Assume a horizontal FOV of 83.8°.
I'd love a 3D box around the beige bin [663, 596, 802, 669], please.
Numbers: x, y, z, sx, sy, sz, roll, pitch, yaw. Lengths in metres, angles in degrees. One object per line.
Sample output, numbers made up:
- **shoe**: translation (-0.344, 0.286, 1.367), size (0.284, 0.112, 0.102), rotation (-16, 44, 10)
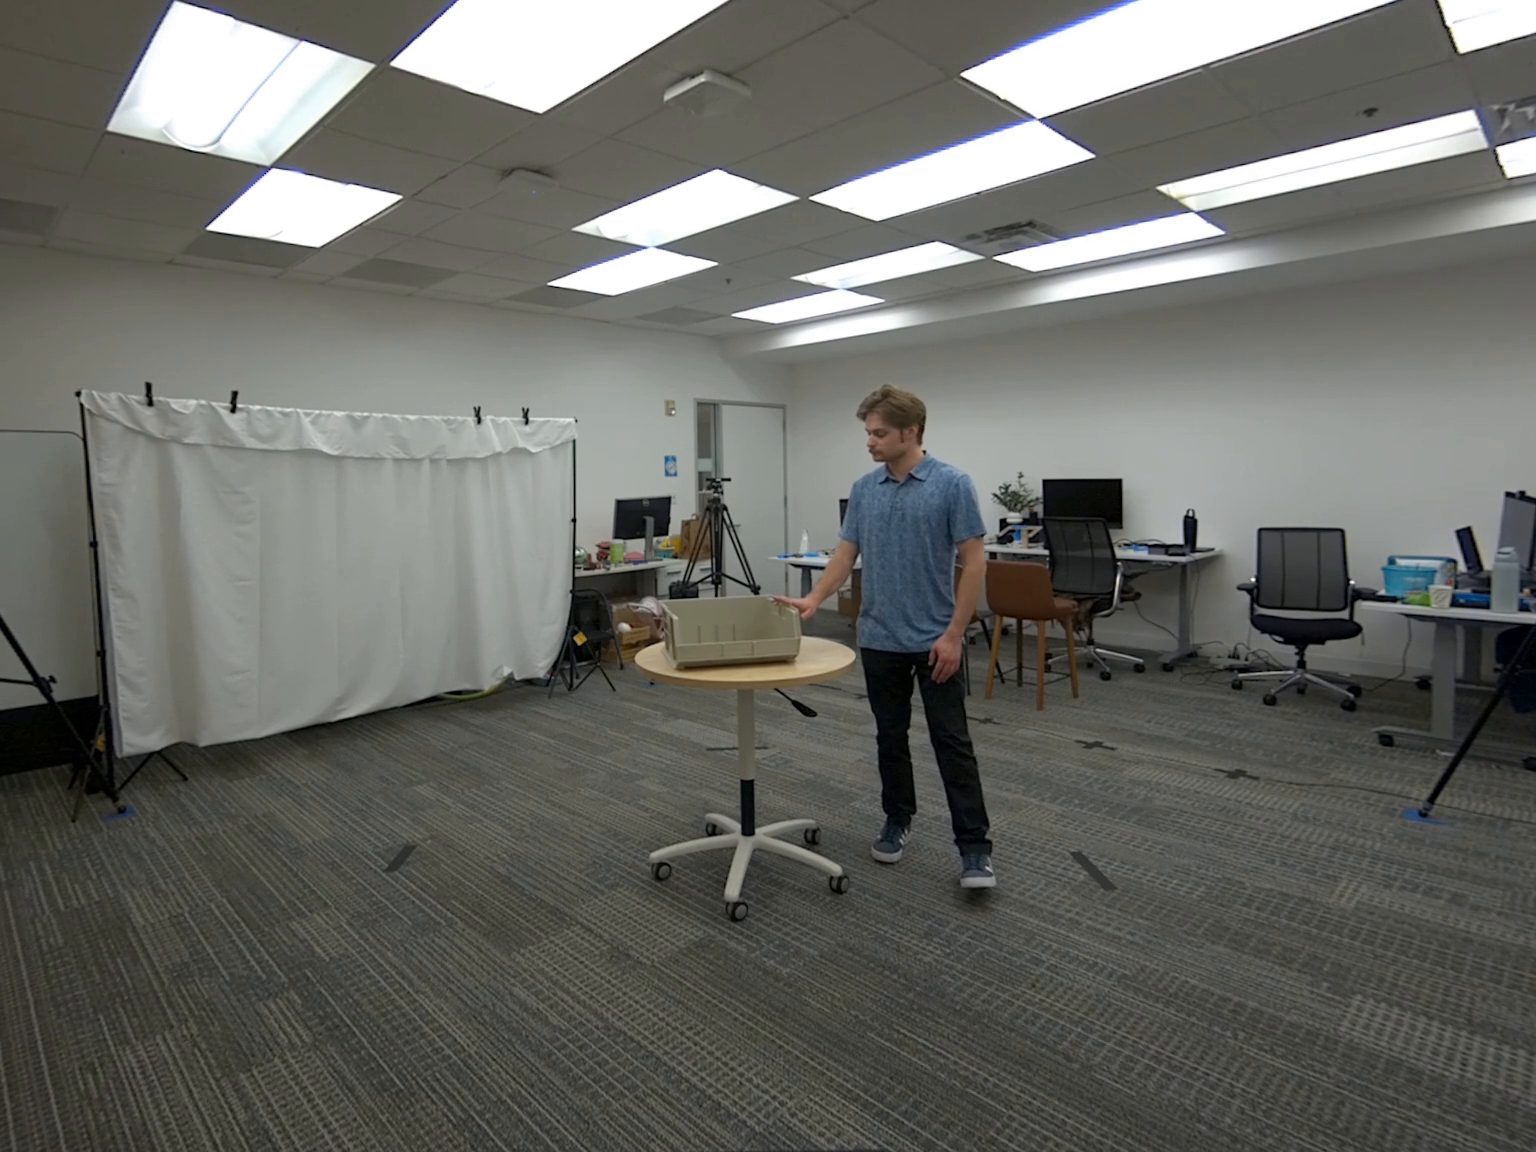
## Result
- **beige bin**: translation (-0.135, 0.188, 2.923), size (0.417, 0.188, 0.383), rotation (-3, 5, -14)
